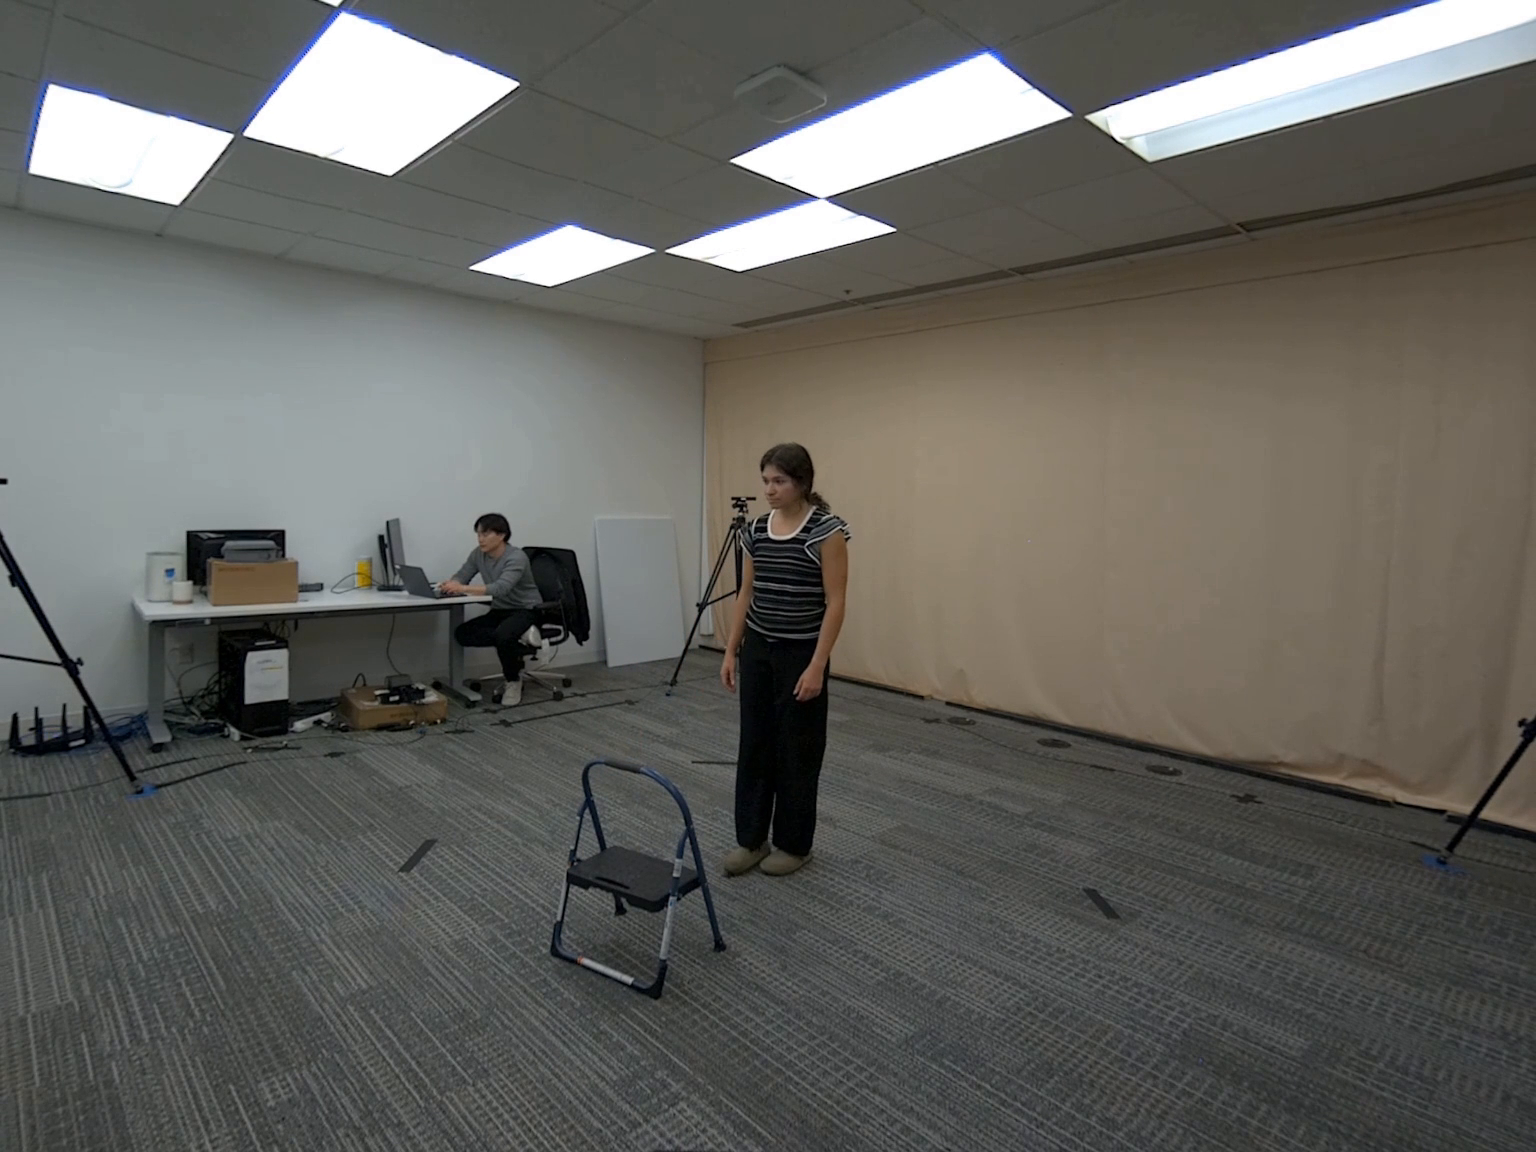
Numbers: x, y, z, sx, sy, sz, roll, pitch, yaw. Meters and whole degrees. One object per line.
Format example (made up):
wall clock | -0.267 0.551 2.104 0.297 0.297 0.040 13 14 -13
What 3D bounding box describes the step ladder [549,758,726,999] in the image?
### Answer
step ladder | -0.398 0.850 2.559 0.440 0.605 0.342 3 4 31
